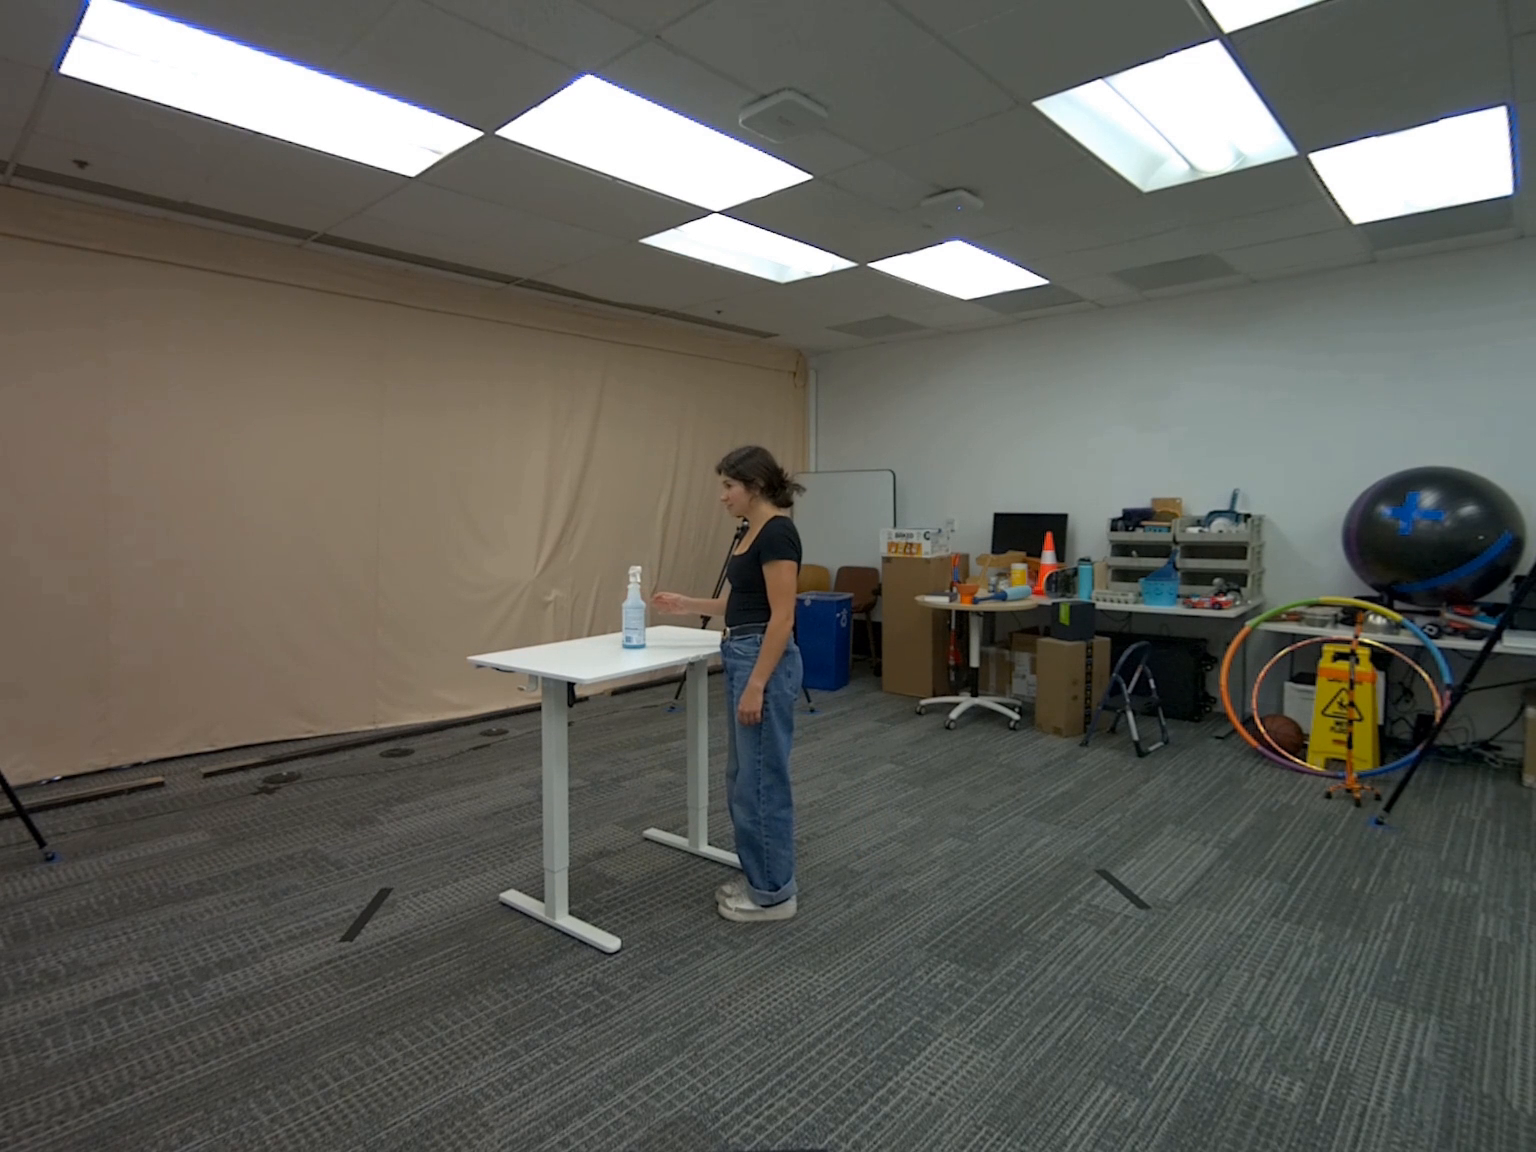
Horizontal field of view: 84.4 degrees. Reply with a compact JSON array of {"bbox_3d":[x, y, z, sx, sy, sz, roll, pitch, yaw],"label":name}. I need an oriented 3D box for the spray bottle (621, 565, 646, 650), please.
[{"bbox_3d":[-0.485,0.116,3.068,0.087,0.297,0.090,0,3,-4],"label":"spray bottle"}]
